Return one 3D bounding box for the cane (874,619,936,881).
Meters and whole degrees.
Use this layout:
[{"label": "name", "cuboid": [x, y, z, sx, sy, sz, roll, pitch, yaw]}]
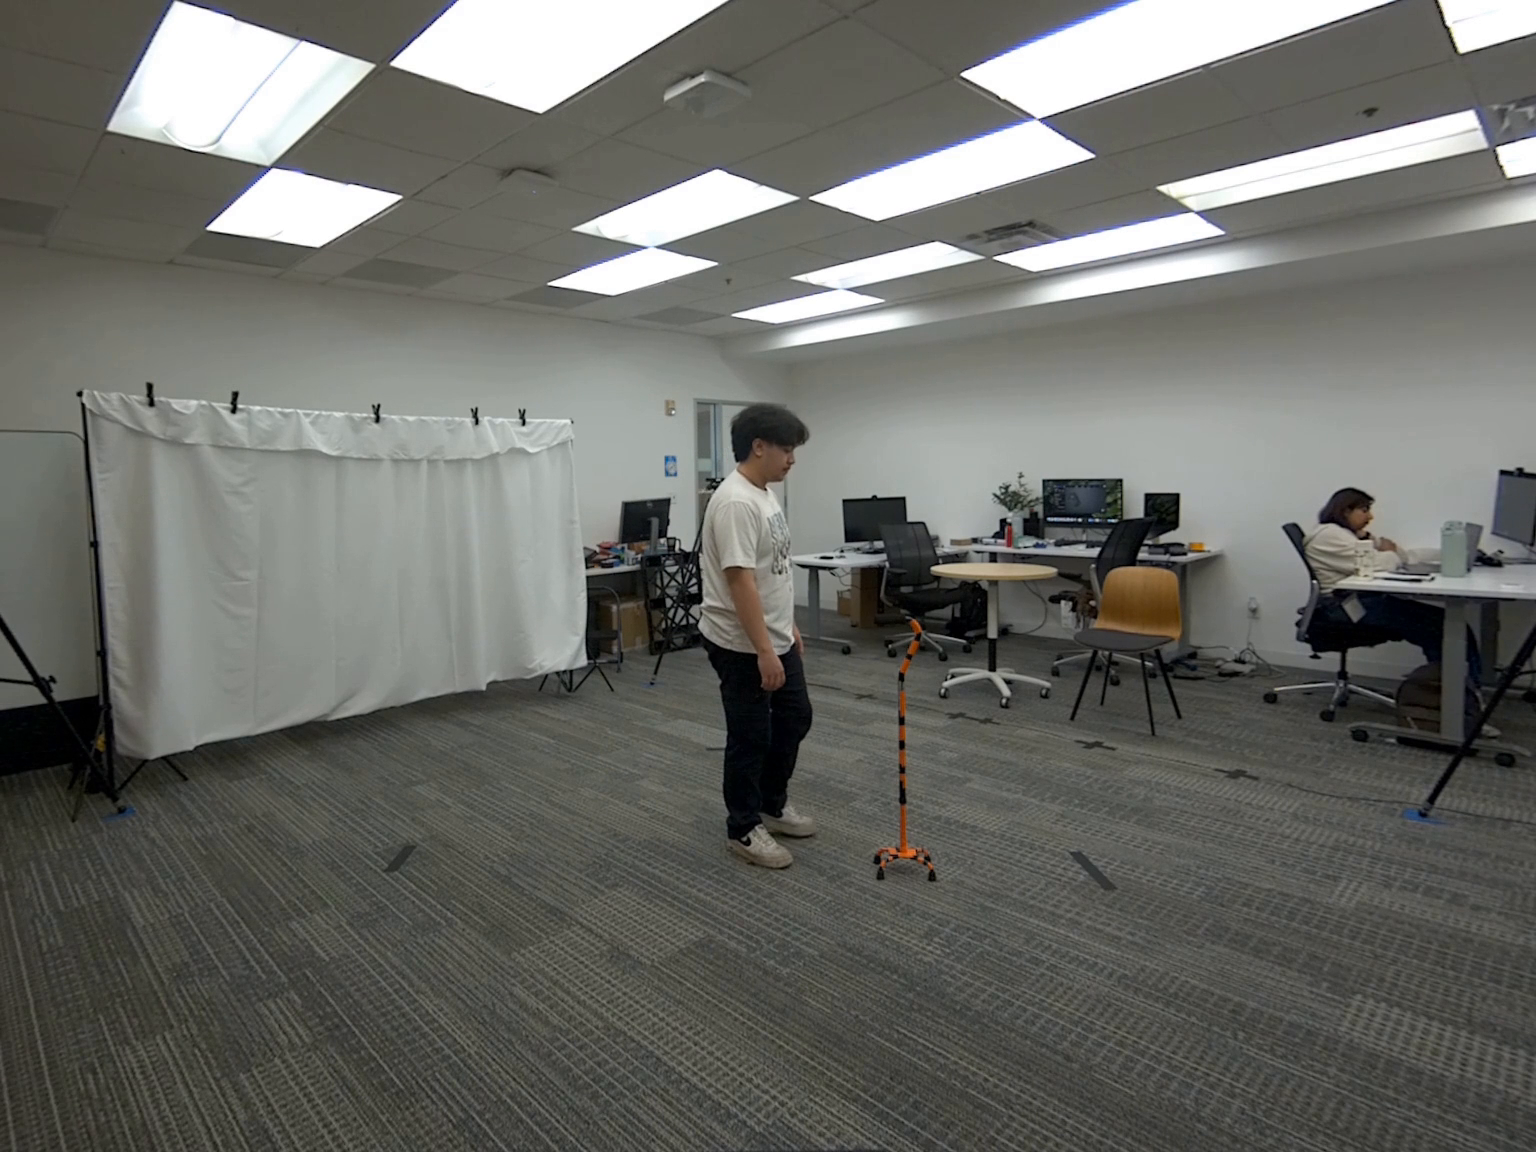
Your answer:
[{"label": "cane", "cuboid": [0.476, 0.591, 2.994, 0.207, 0.905, 0.151, -1, 3, 3]}]
